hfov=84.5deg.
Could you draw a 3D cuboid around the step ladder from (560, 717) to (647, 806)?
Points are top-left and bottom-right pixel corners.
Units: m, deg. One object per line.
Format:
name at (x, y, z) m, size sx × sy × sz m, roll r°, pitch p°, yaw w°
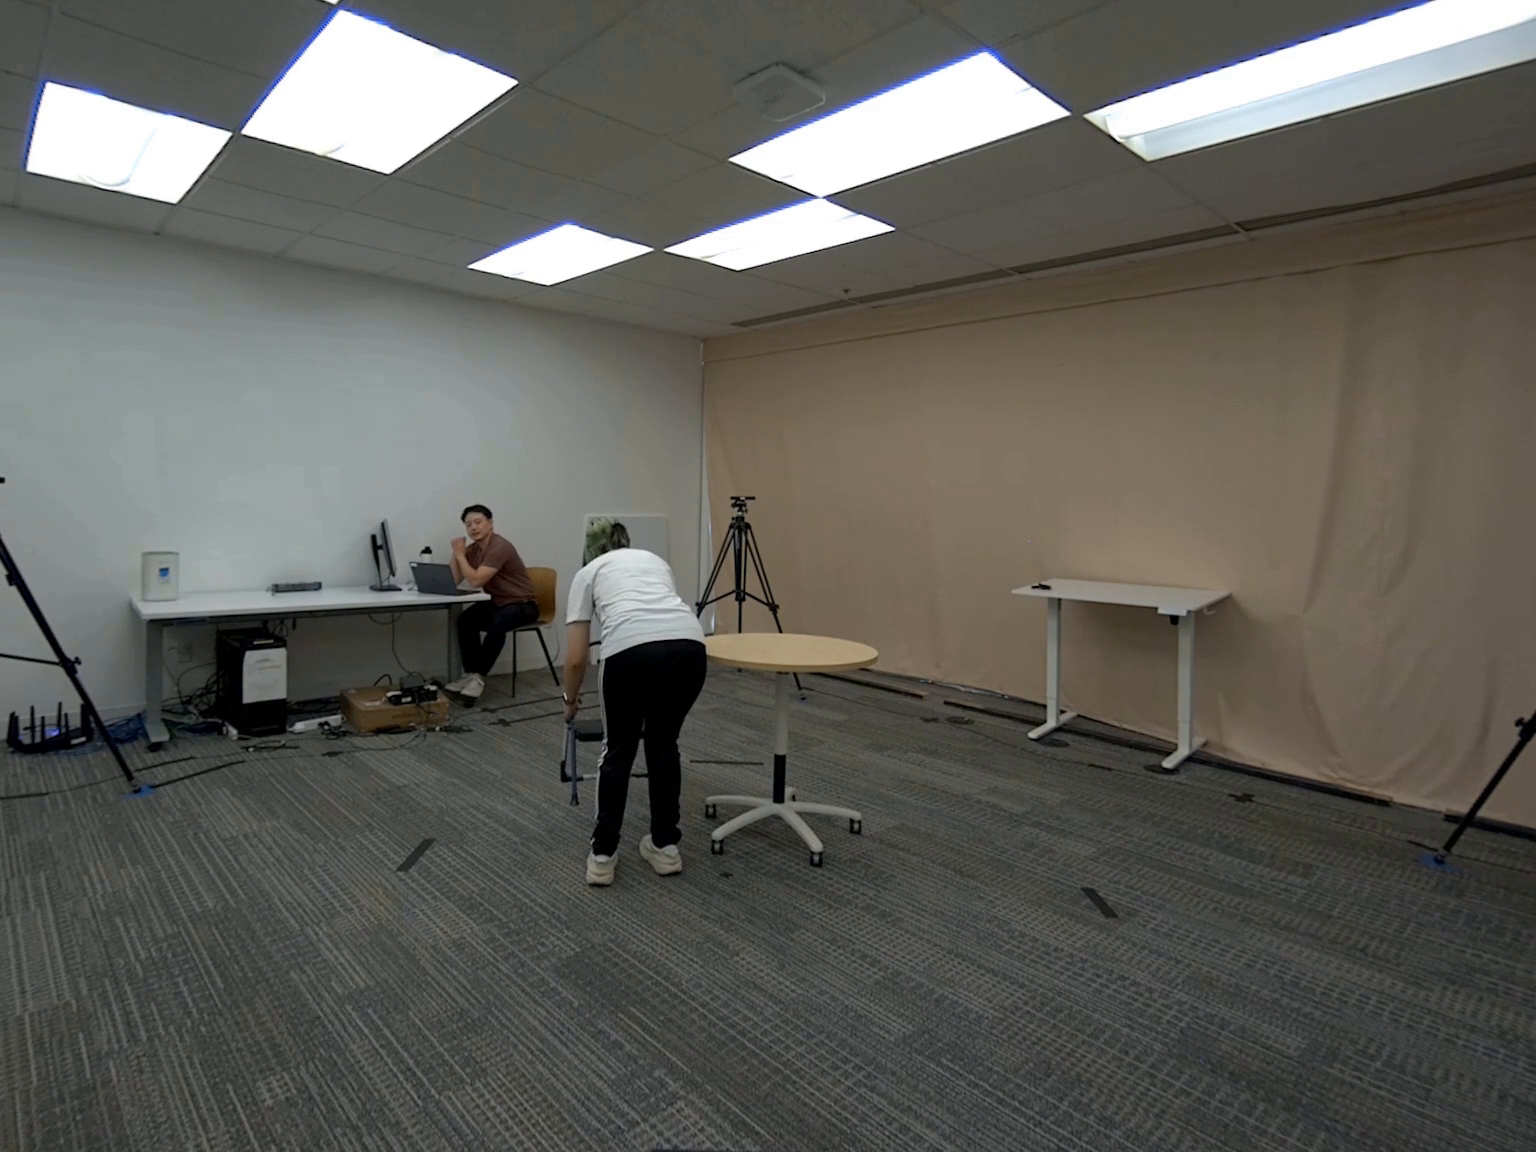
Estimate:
step ladder at (-0.622, 0.579, 3.462) m, size 0.423 × 0.606 × 0.355 m, roll 2°, pitch 0°, yaw -22°
